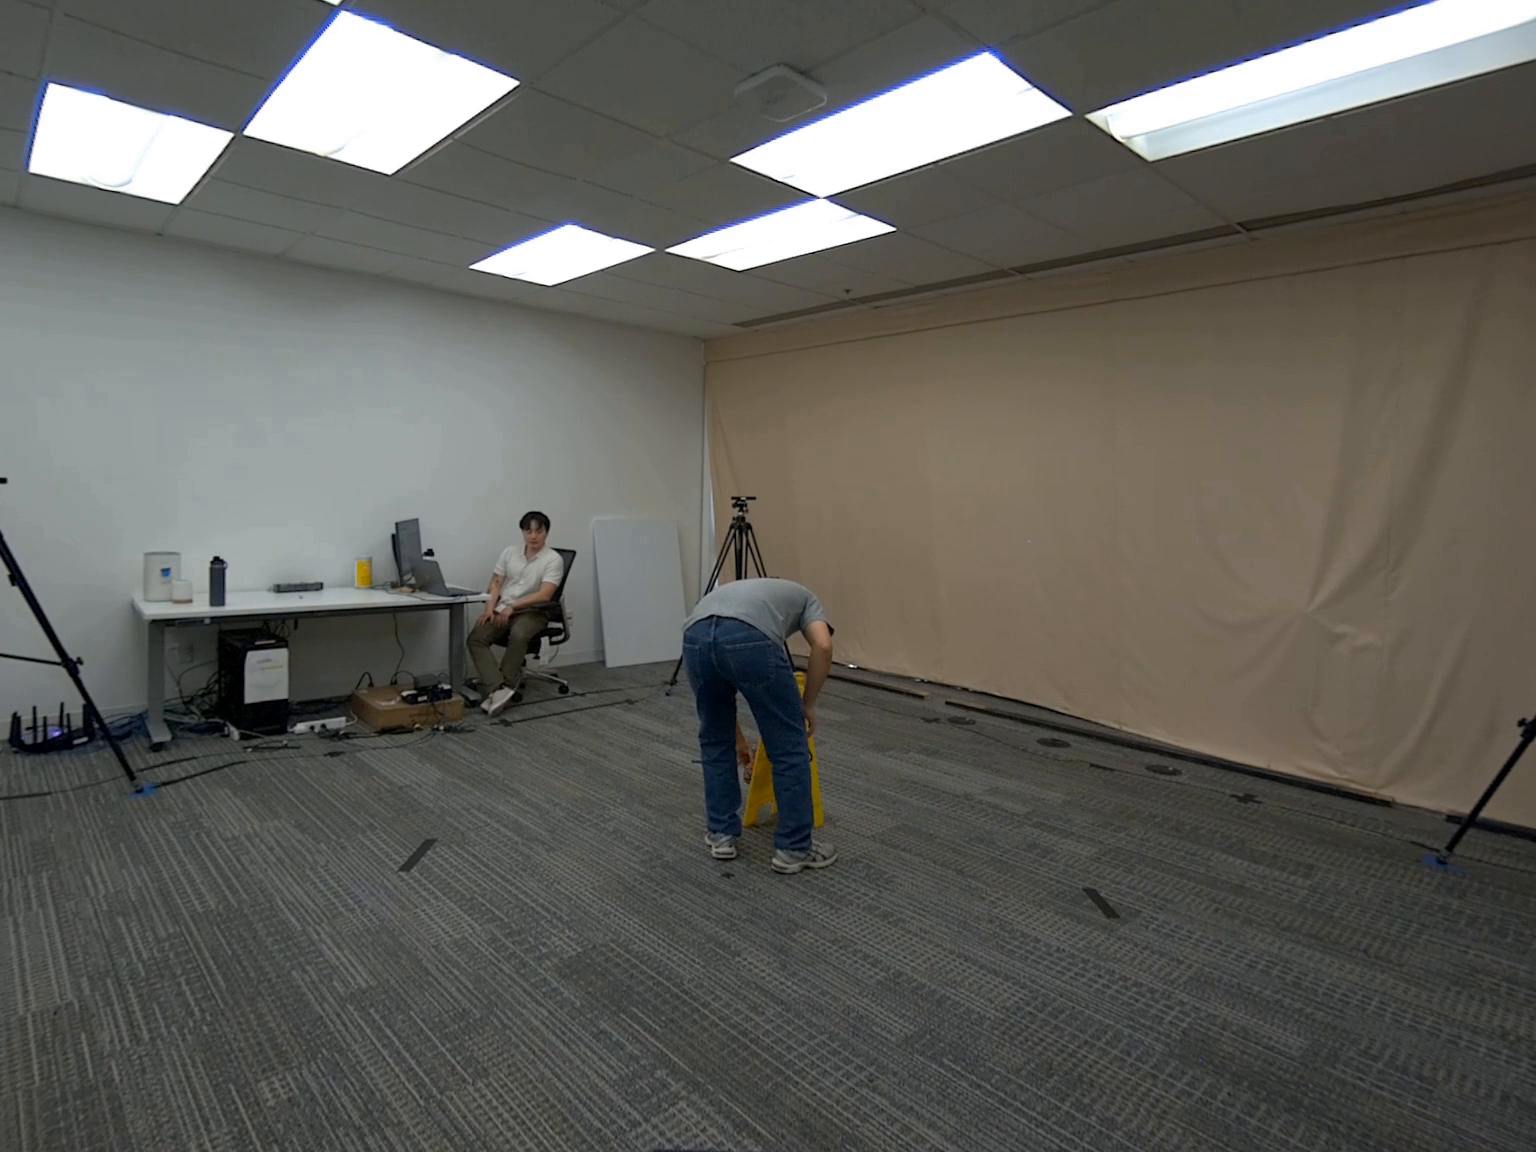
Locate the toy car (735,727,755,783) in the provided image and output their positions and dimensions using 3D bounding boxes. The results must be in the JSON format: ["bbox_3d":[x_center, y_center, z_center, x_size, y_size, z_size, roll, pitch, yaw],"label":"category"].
[{"bbox_3d":[-0.013,0.784,3.652,0.085,0.257,0.126,5,-27,32],"label":"toy car"}]
